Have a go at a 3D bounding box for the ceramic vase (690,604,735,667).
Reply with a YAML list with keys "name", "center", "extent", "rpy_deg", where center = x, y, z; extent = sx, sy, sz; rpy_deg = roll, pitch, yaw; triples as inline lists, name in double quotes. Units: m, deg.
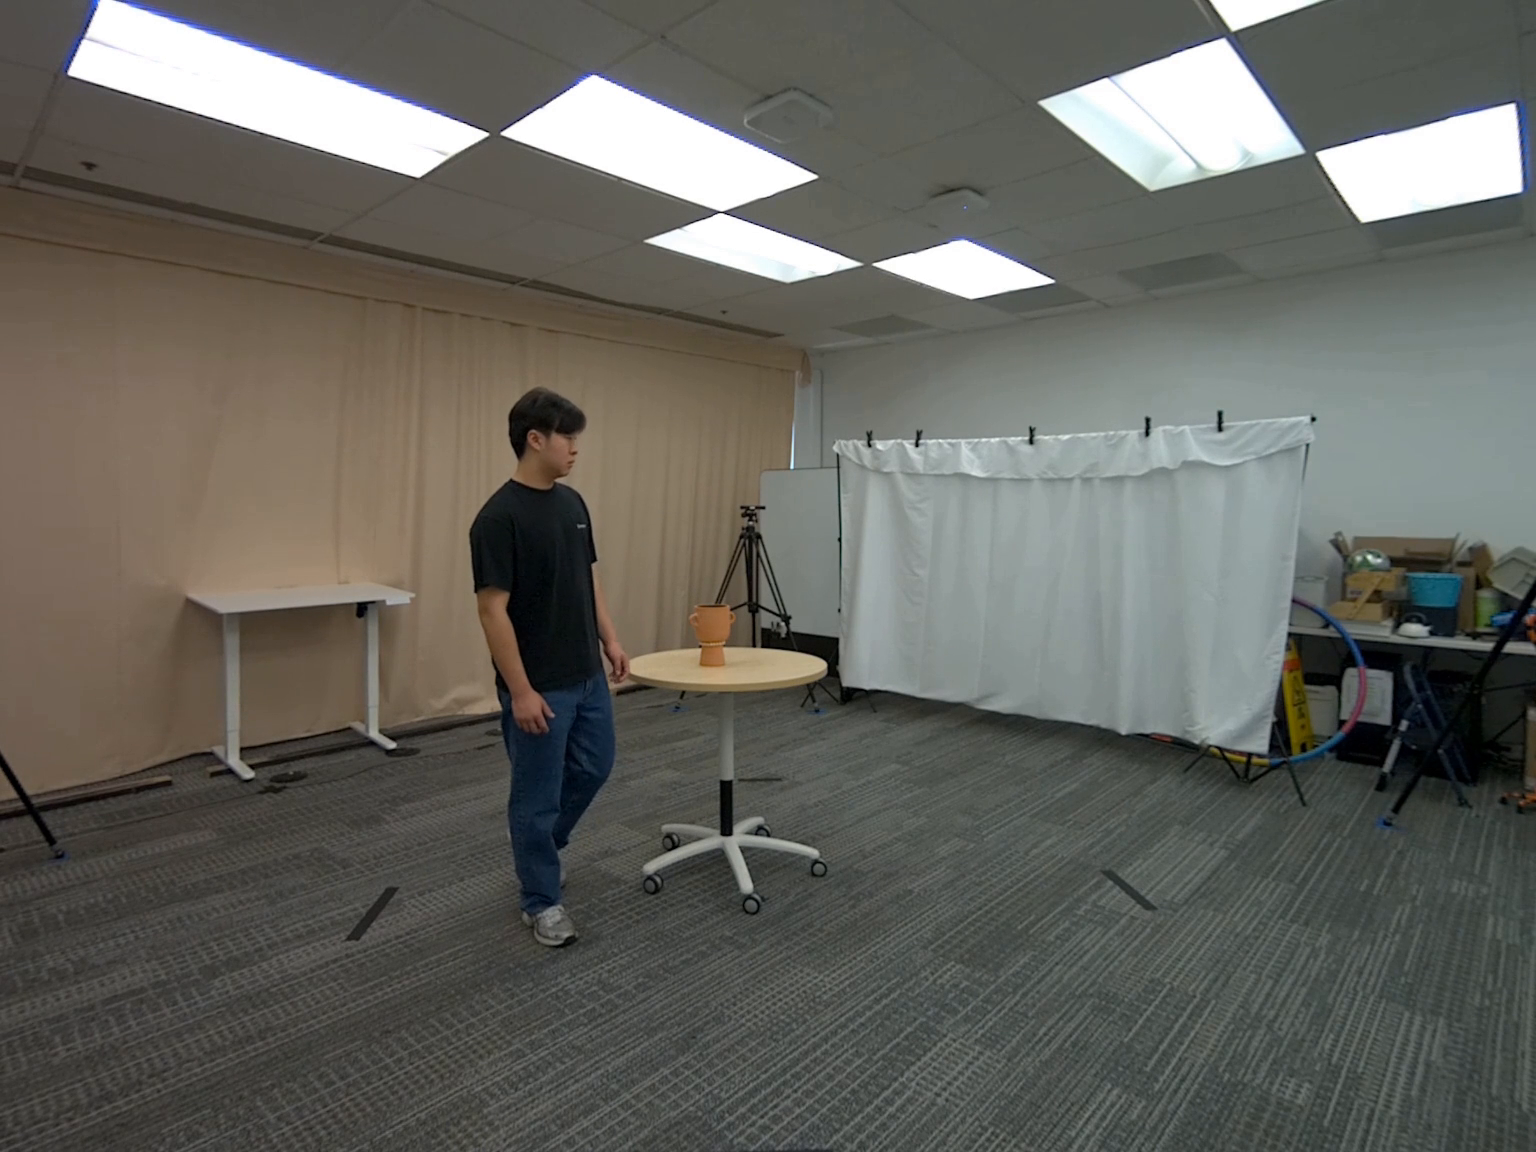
- name: "ceramic vase"
  center: [-0.209, 0.225, 3.164]
  extent: [0.160, 0.219, 0.134]
  rpy_deg: [0, 4, 8]
